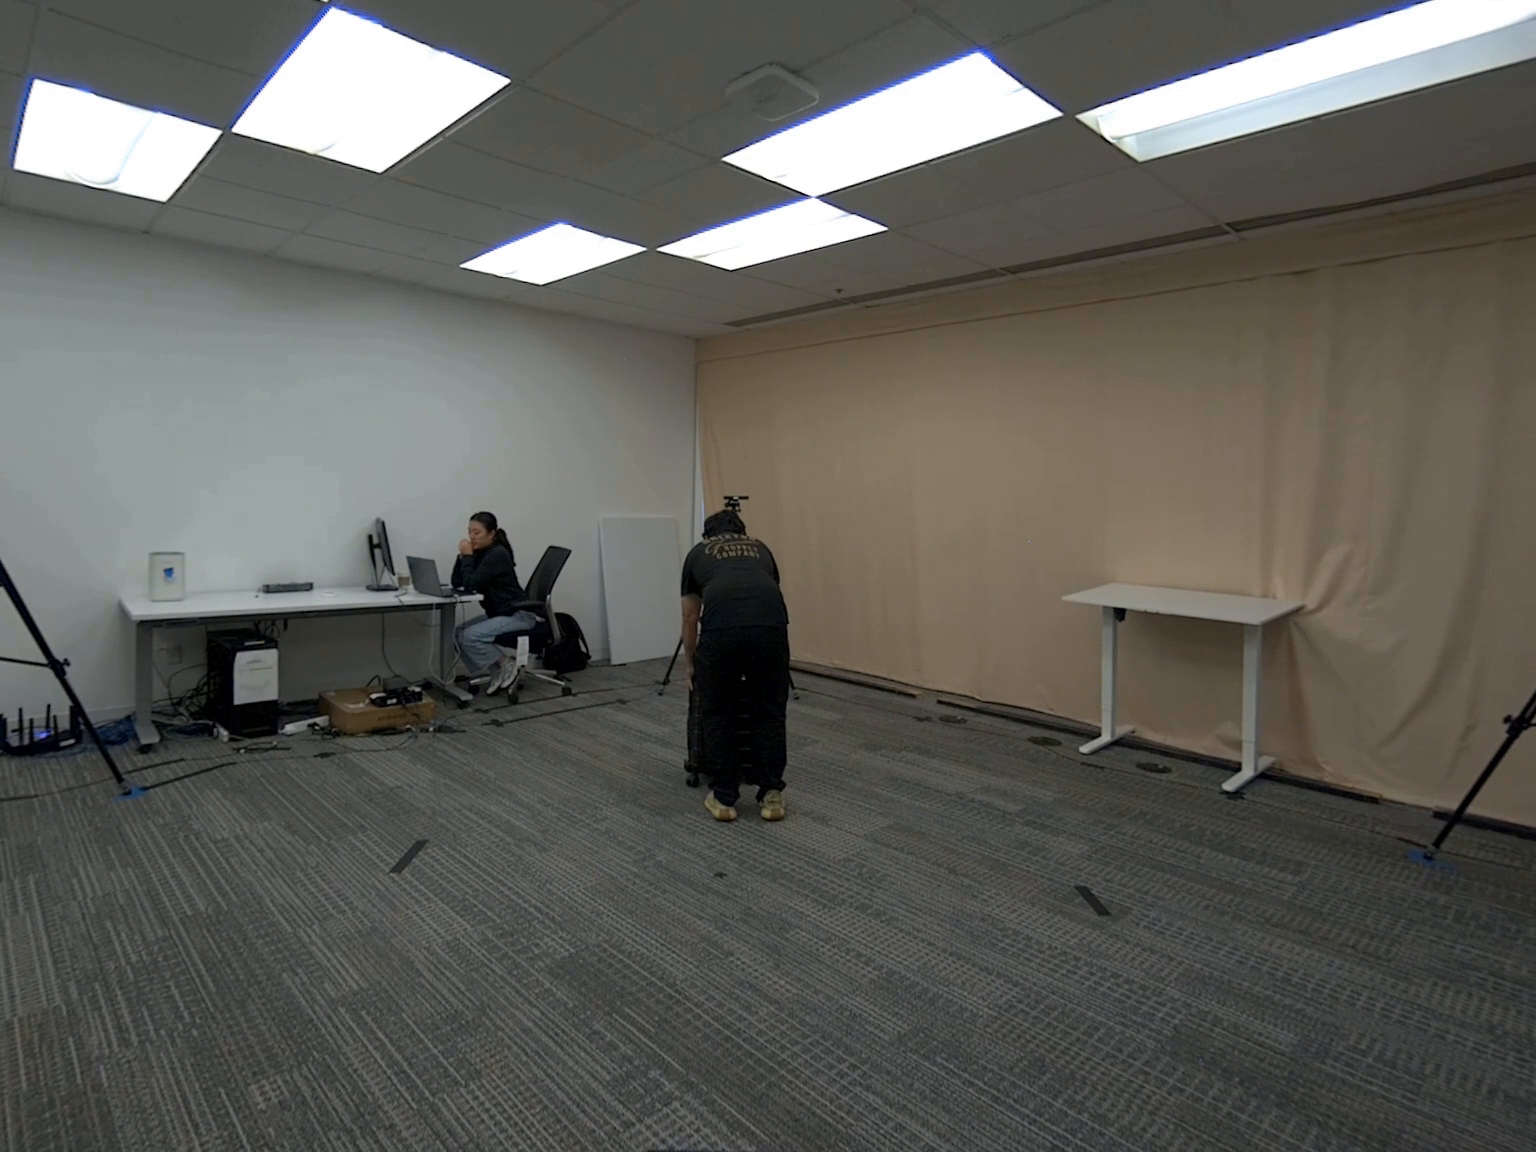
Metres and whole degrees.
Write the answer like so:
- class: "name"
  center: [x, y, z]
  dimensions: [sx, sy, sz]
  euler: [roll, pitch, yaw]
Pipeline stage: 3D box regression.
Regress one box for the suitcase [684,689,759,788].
- class: "suitcase"
  center: [-0.225, 0.738, 4.191]
  dimensions: [0.374, 0.549, 0.249]
  euler: [2, 2, -5]
